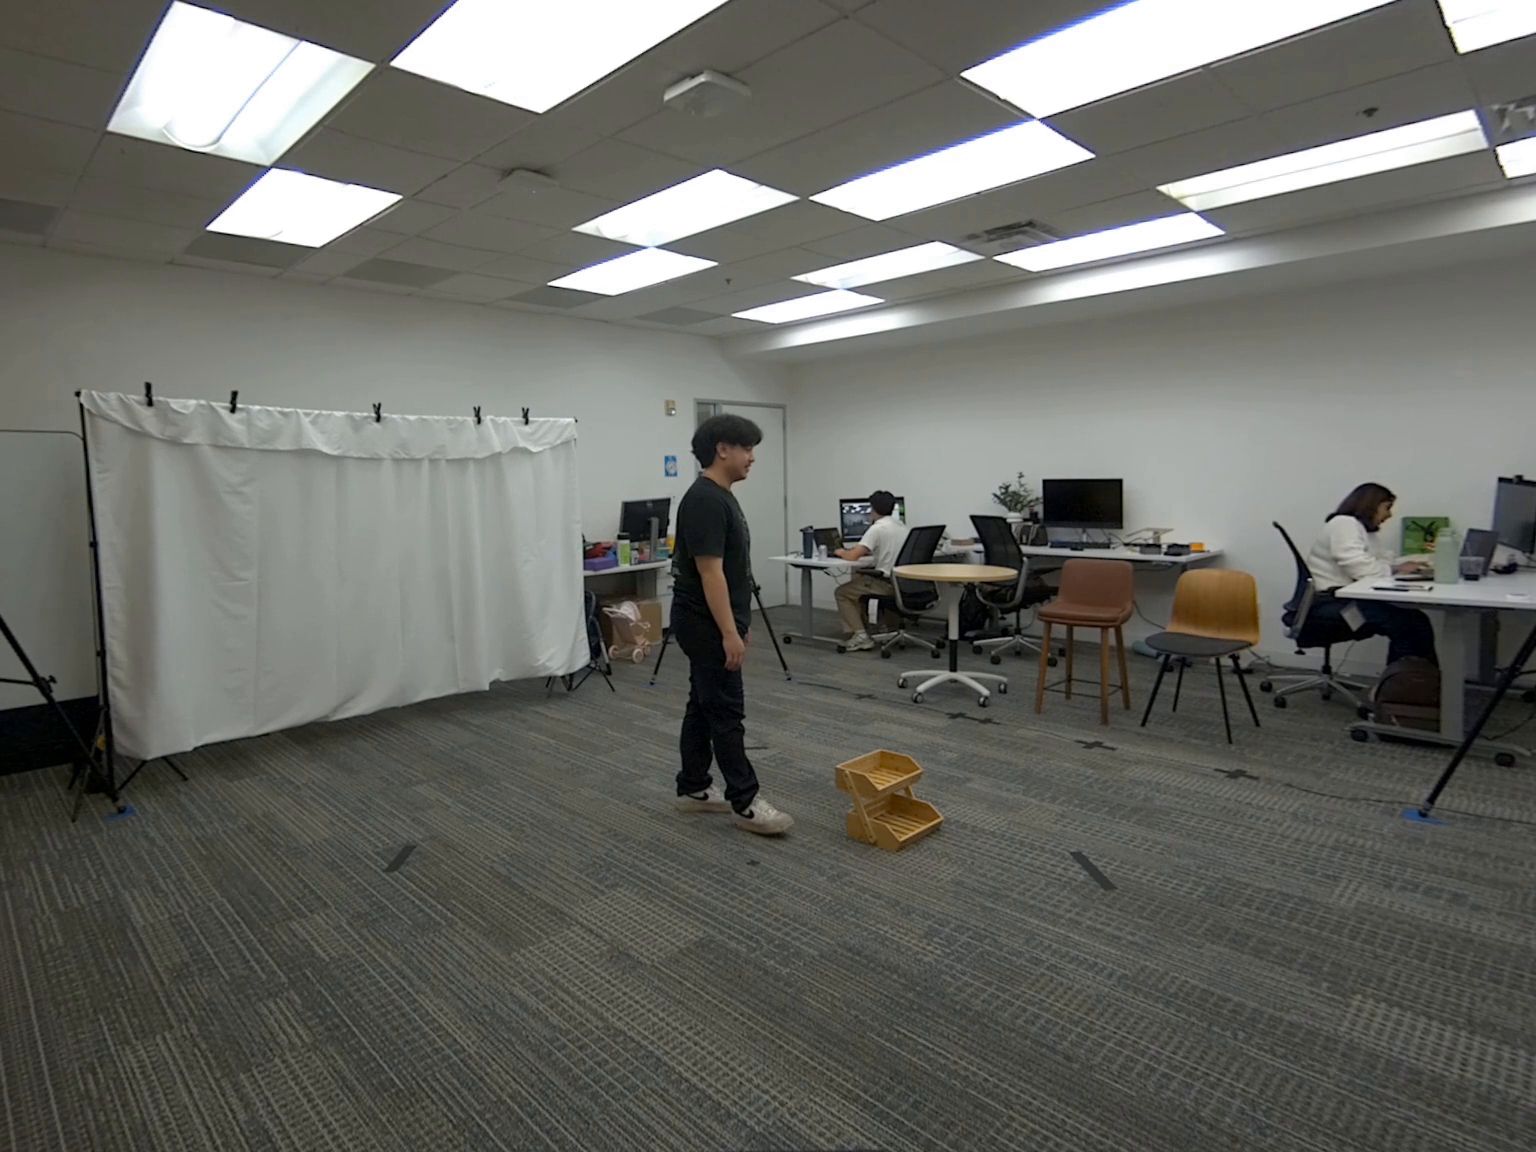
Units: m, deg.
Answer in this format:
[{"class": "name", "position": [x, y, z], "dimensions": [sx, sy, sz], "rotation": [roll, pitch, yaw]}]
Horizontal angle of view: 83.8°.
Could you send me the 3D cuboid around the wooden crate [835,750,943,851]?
[{"class": "wooden crate", "position": [0.483, 0.872, 3.363], "dimensions": [0.311, 0.272, 0.316], "rotation": [3, 6, 45]}]
